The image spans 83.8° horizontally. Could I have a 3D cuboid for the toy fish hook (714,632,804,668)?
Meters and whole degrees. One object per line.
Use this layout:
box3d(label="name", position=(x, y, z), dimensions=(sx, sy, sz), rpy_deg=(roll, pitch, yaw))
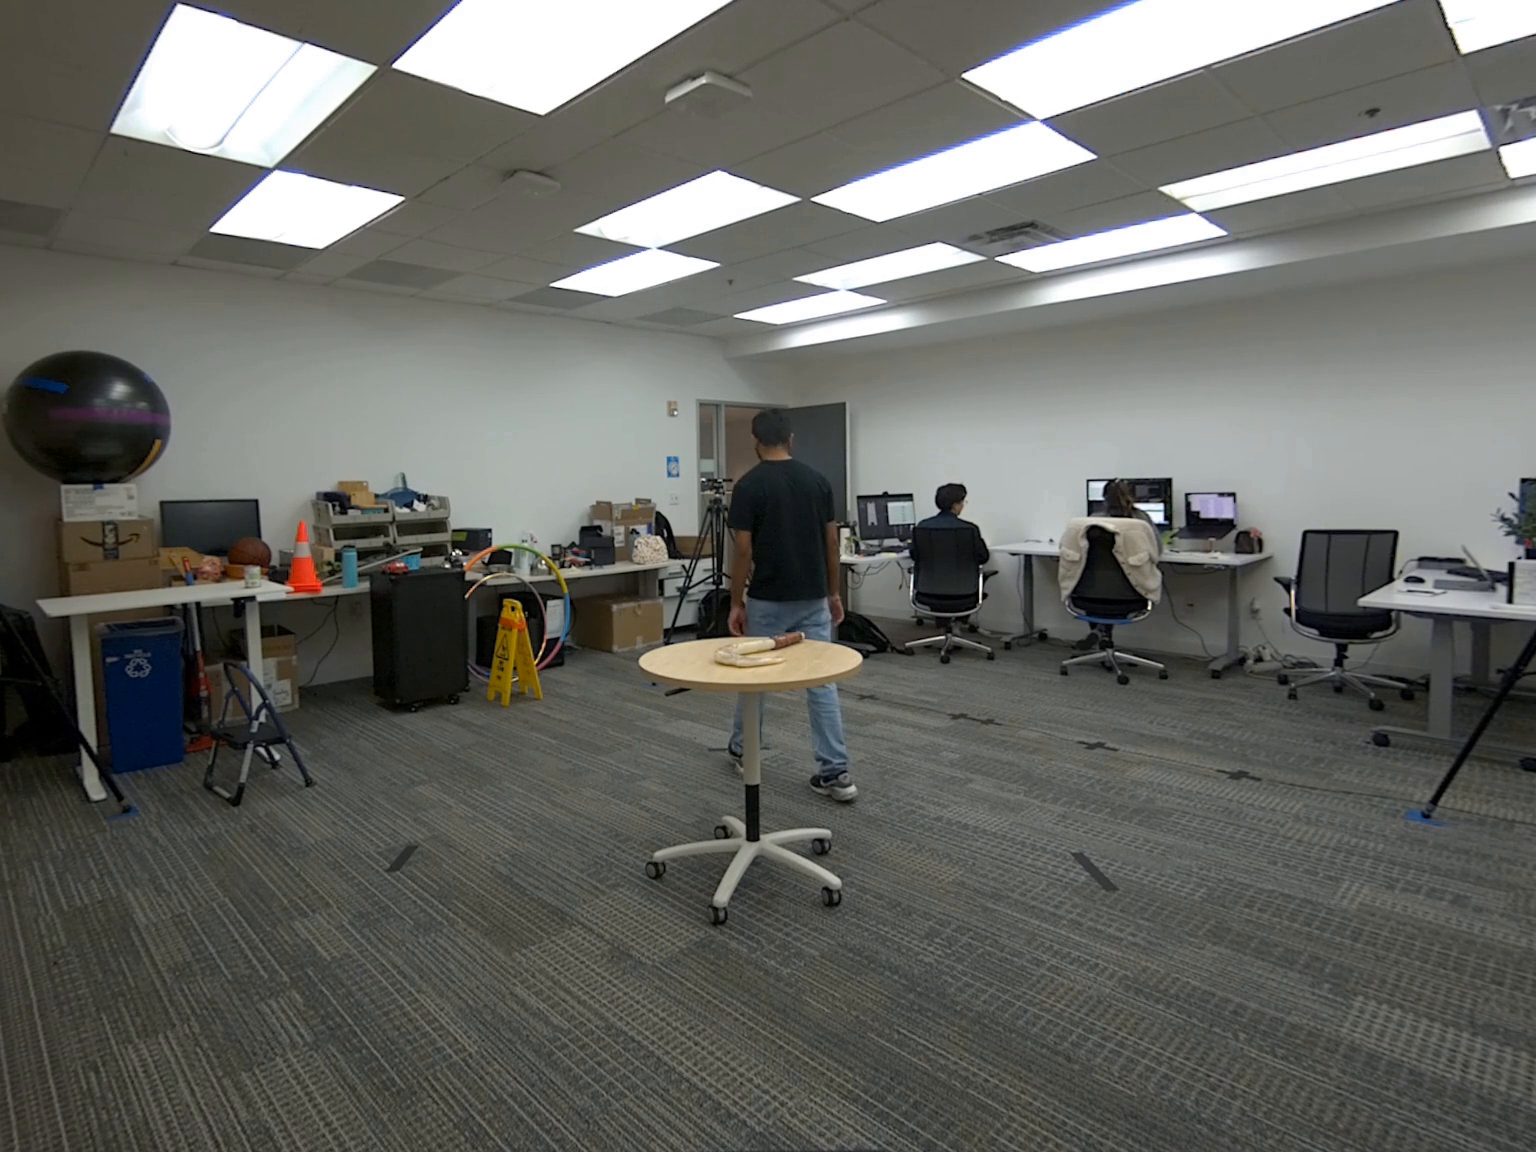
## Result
box3d(label="toy fish hook", position=(0.017, 0.264, 2.993), dimensions=(0.232, 0.048, 0.495), rpy_deg=(12, 14, 35))
